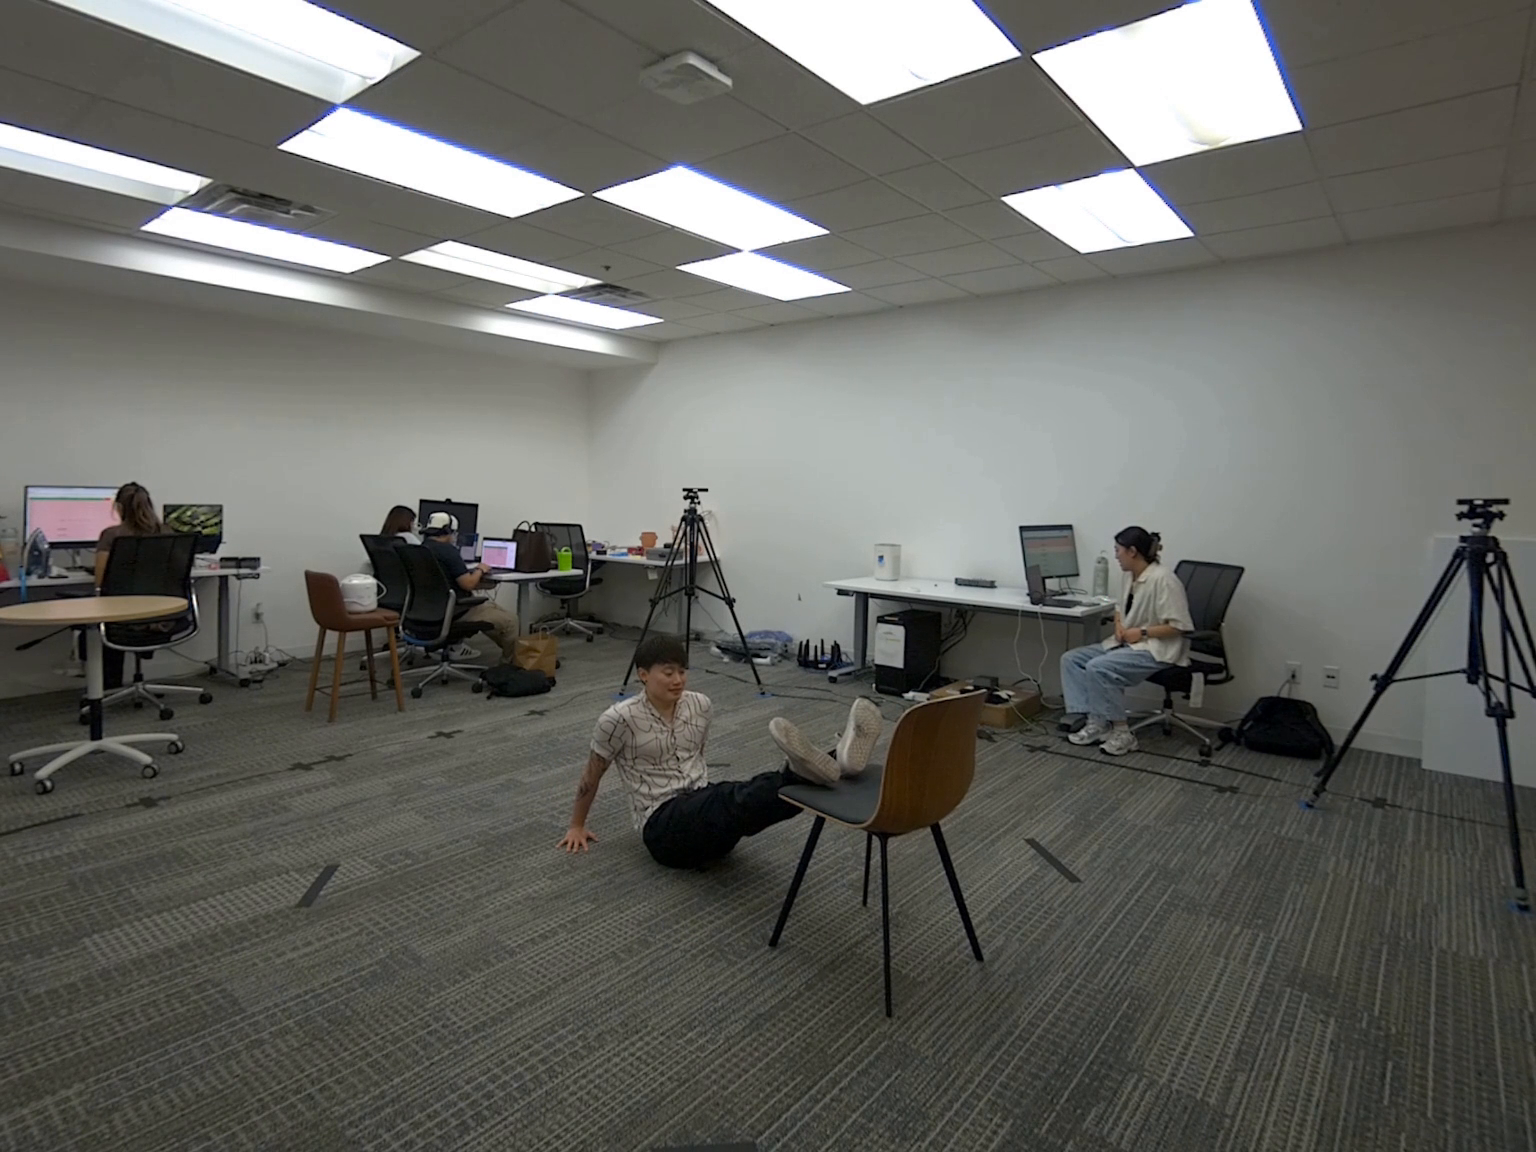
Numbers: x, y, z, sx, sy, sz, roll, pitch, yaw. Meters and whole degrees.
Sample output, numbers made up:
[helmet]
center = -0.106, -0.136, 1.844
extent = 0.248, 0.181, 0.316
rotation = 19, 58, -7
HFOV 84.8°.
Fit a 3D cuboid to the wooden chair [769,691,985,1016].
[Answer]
[wooden chair]
center = 0.325, 0.708, 2.545
extent = 0.463, 0.872, 0.542
rotation = -2, 9, -43
